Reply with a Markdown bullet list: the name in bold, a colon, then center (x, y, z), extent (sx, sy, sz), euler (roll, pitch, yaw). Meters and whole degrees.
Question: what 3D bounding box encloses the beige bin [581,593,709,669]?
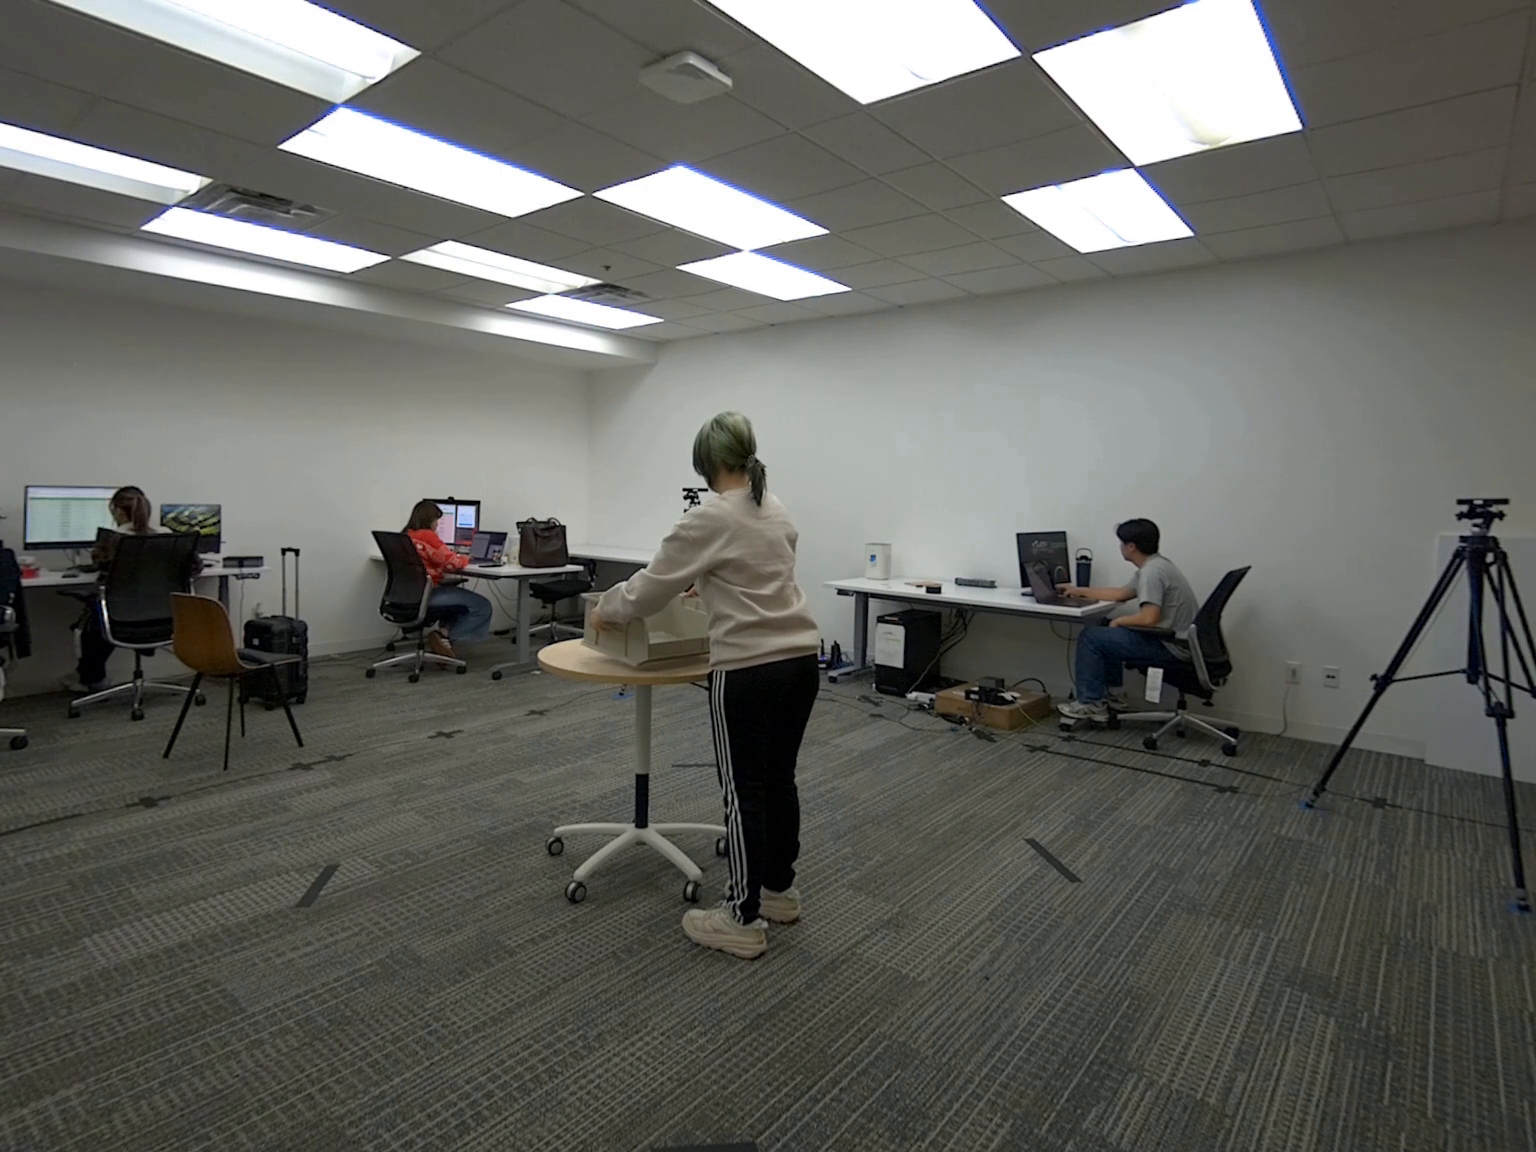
- **beige bin**: center (-0.398, 0.176, 3.018), extent (0.391, 0.188, 0.410), euler (11, 10, 42)
